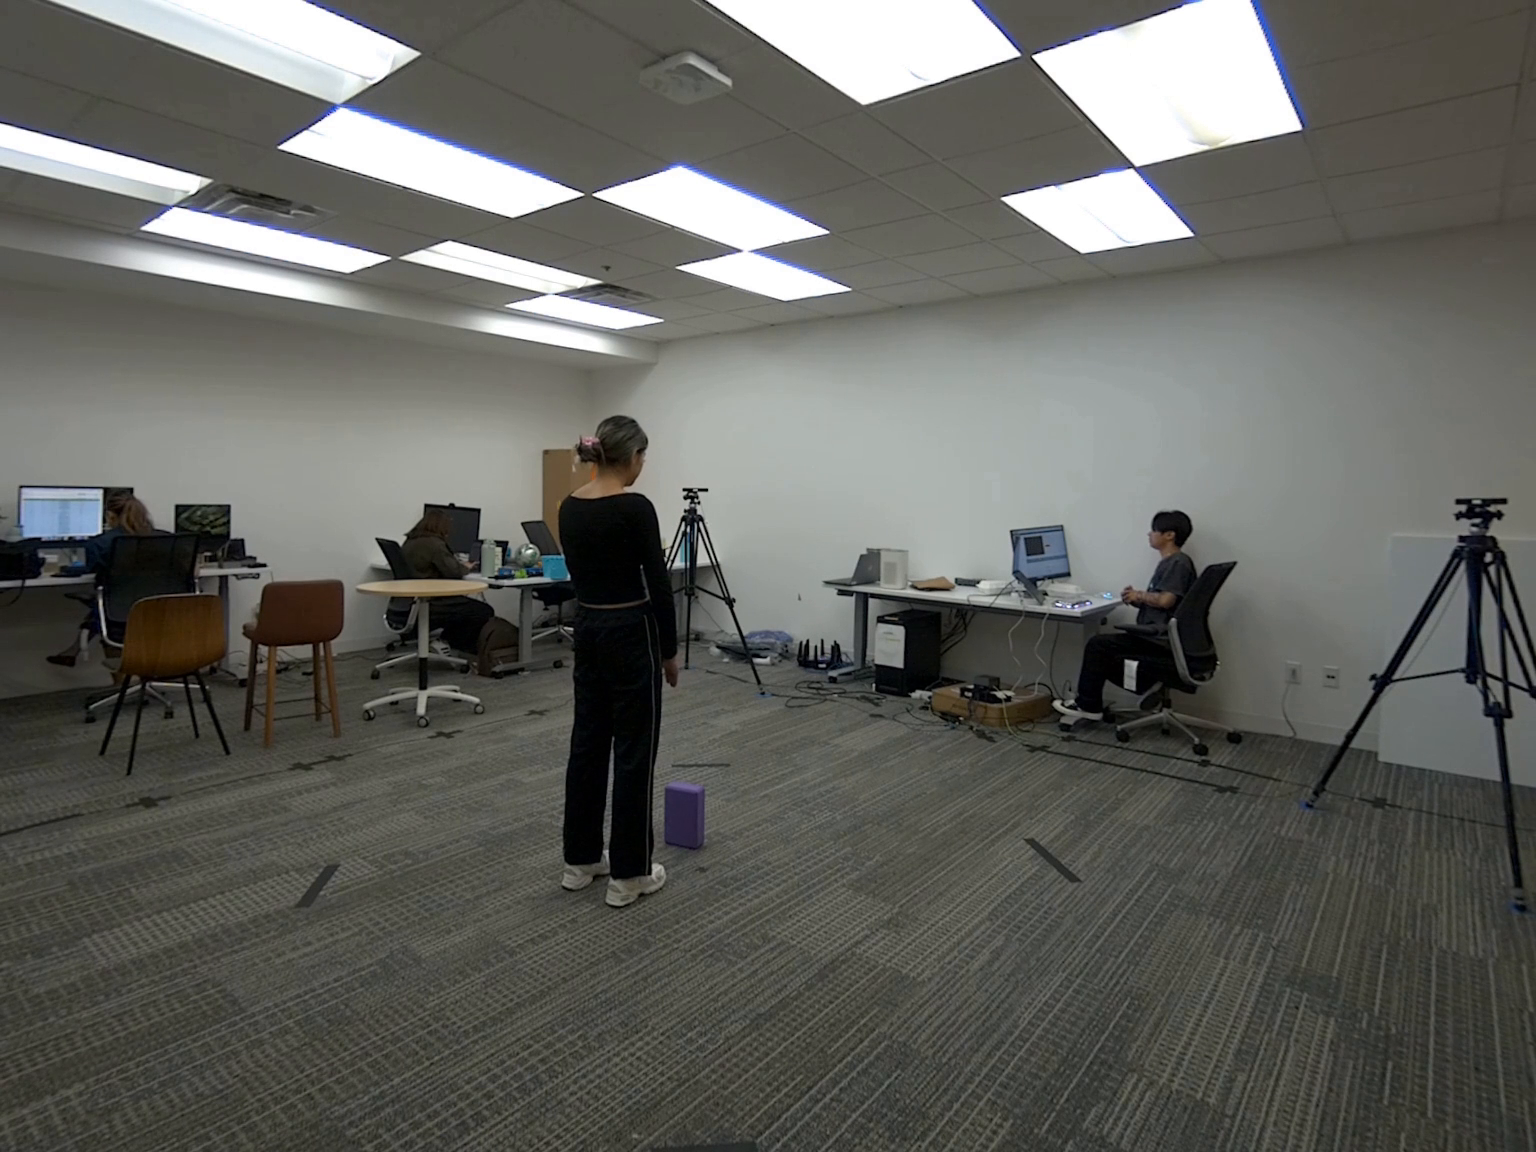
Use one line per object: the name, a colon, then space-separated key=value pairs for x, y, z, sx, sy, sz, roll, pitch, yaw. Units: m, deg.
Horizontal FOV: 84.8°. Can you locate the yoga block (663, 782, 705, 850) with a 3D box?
yoga block: x=-0.339 y=0.932 z=3.332 sx=0.153 sy=0.229 sz=0.075 roll=2 pitch=3 yaw=24
